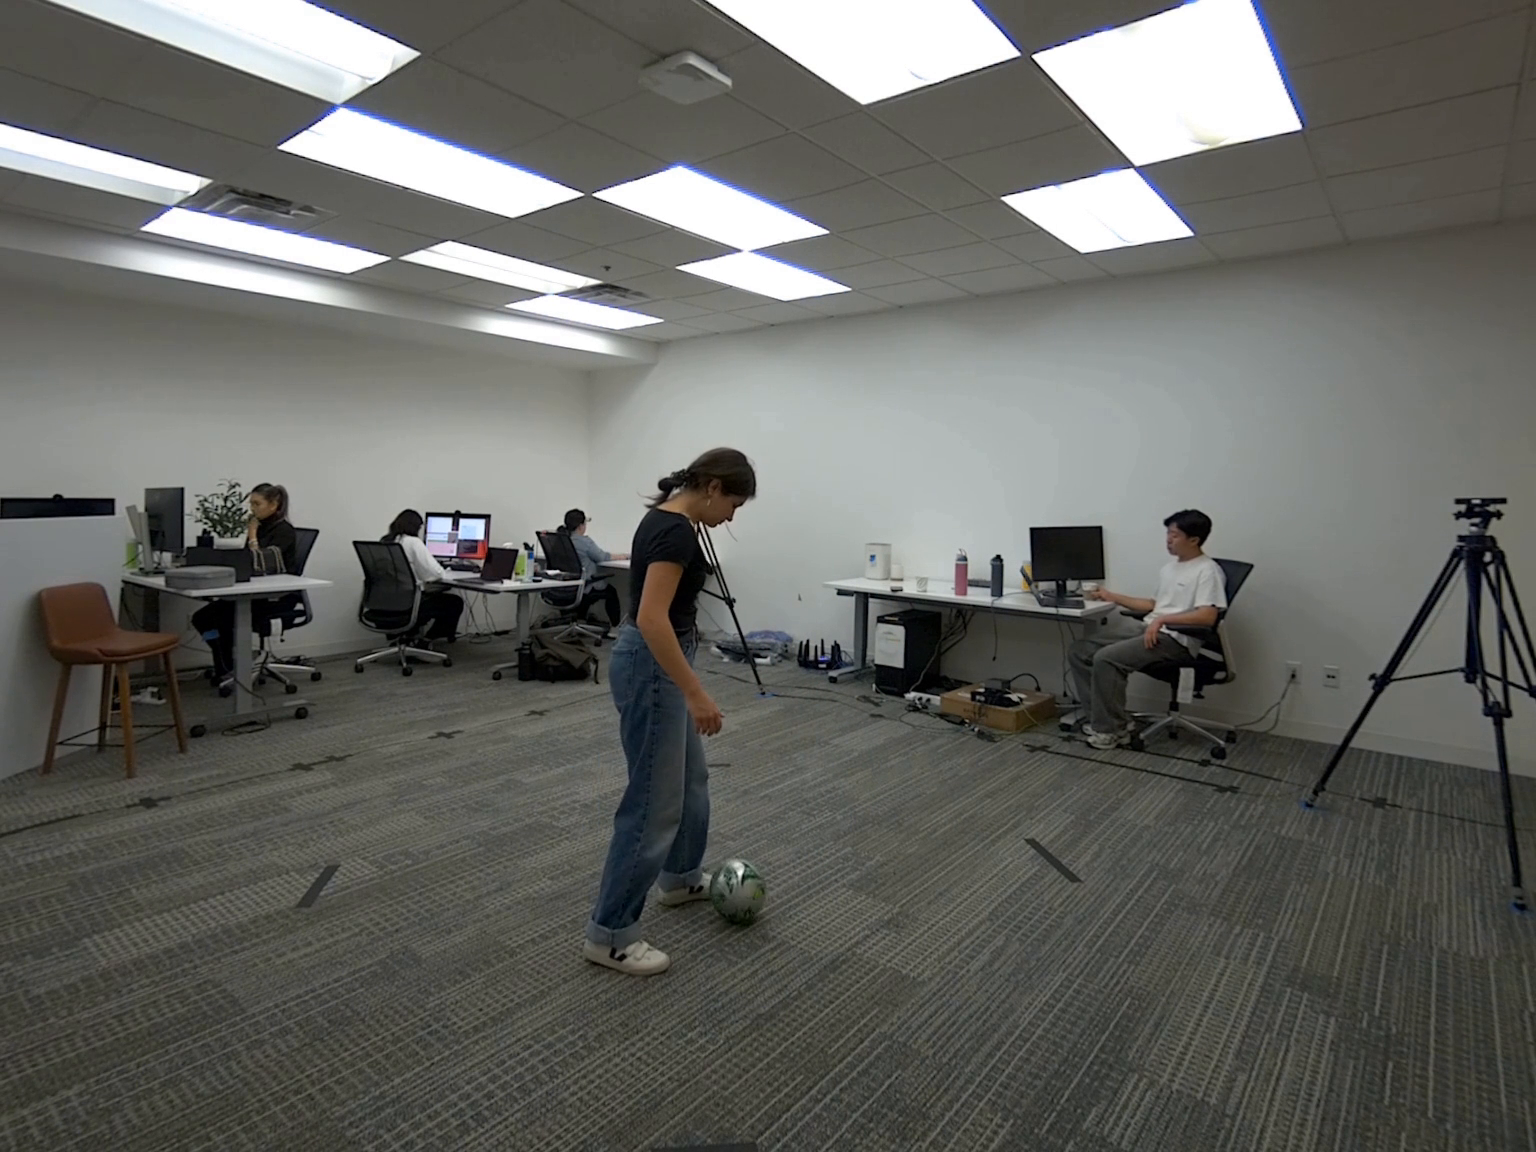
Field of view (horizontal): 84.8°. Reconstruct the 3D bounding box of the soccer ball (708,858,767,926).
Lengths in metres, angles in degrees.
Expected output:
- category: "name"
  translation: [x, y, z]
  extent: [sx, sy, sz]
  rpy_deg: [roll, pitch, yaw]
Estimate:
- category: "soccer ball"
  translation: [-0.098, 1.009, 2.753]
  extent: [0.187, 0.187, 0.188]
  rpy_deg: [1, 4, -2]
